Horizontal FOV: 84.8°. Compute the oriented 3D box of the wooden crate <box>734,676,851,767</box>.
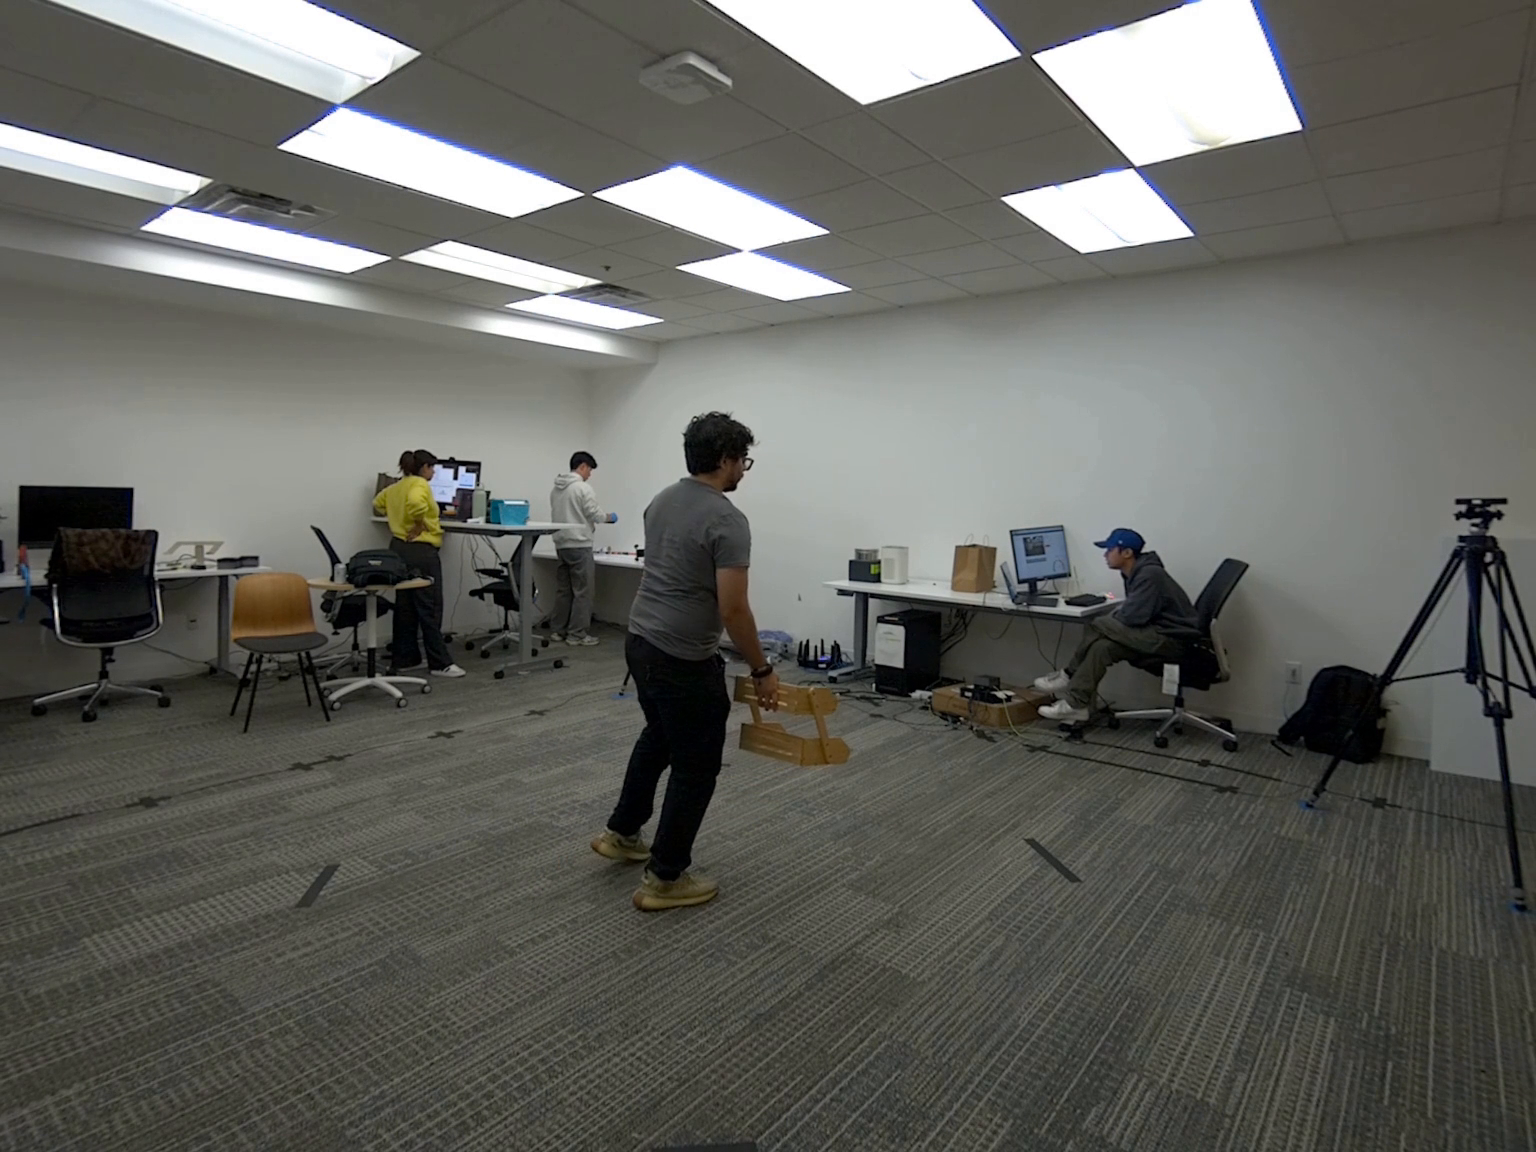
[{"bbox_3d":[0.077,0.495,2.974,0.335,0.274,0.291,2,-5,45],"label":"wooden crate"}]
